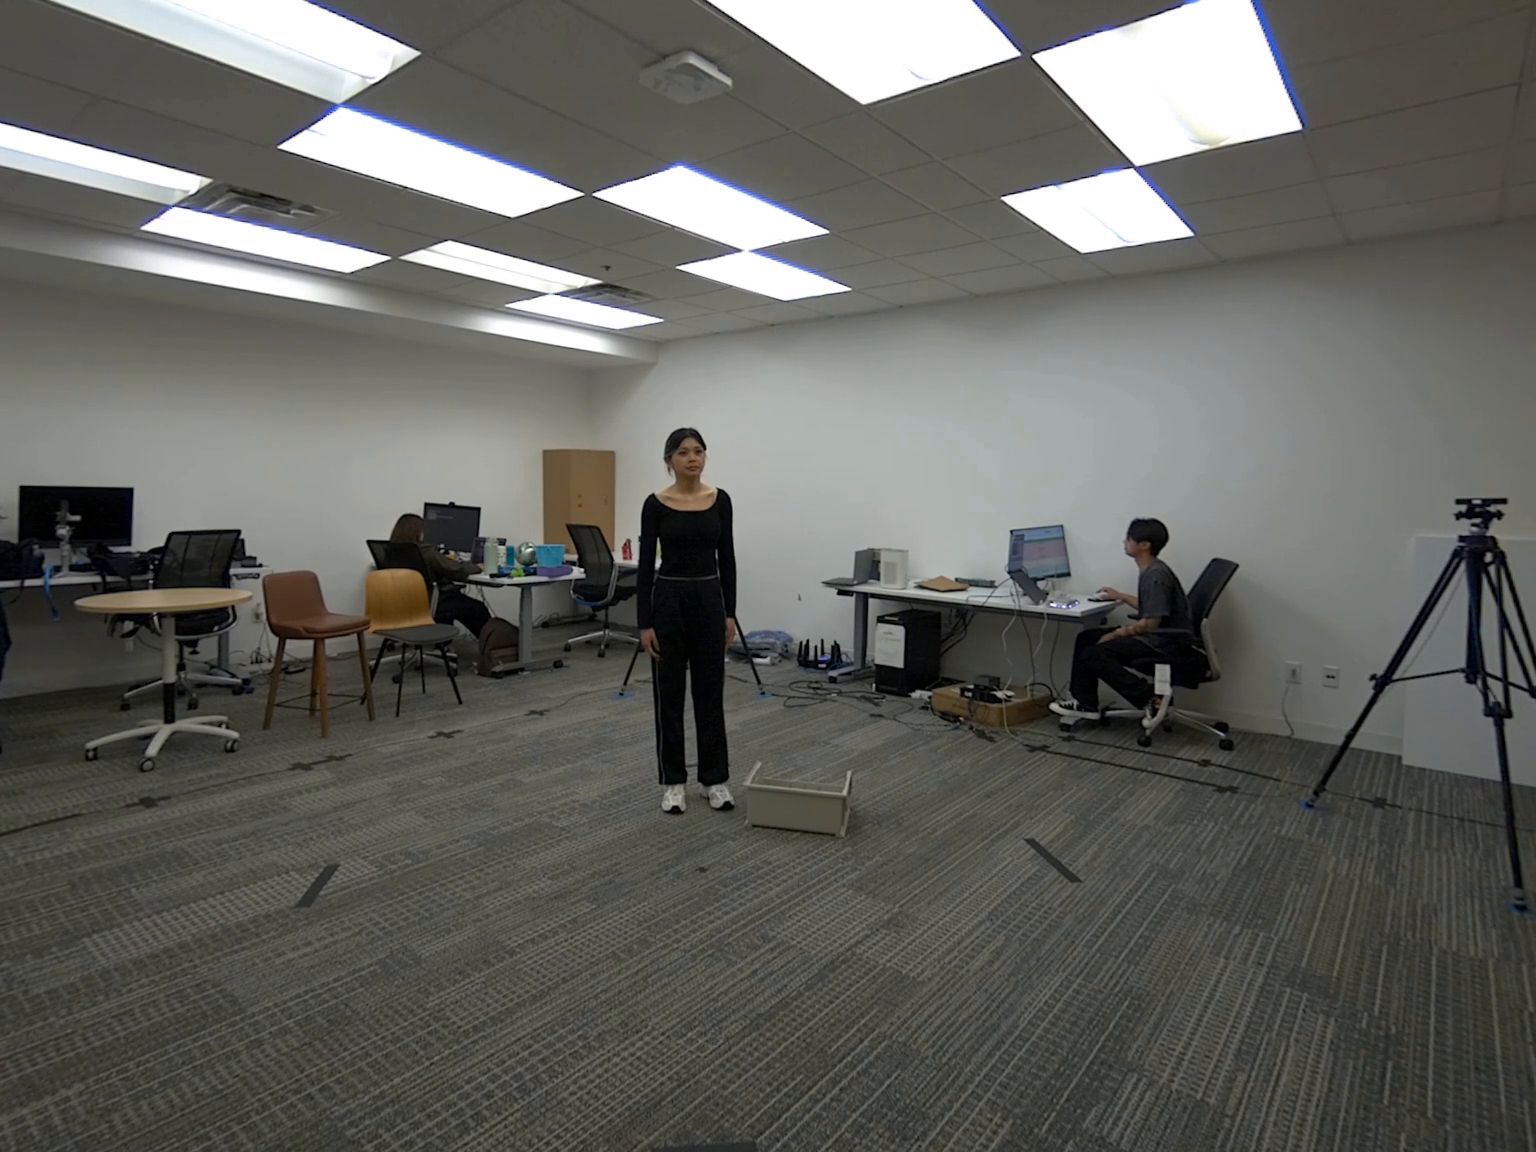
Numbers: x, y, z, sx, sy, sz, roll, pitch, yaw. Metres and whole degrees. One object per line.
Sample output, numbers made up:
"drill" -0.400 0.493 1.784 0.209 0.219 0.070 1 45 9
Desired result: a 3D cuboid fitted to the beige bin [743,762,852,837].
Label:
"beige bin" 0.127 0.937 3.640 0.429 0.188 0.374 2 6 13
